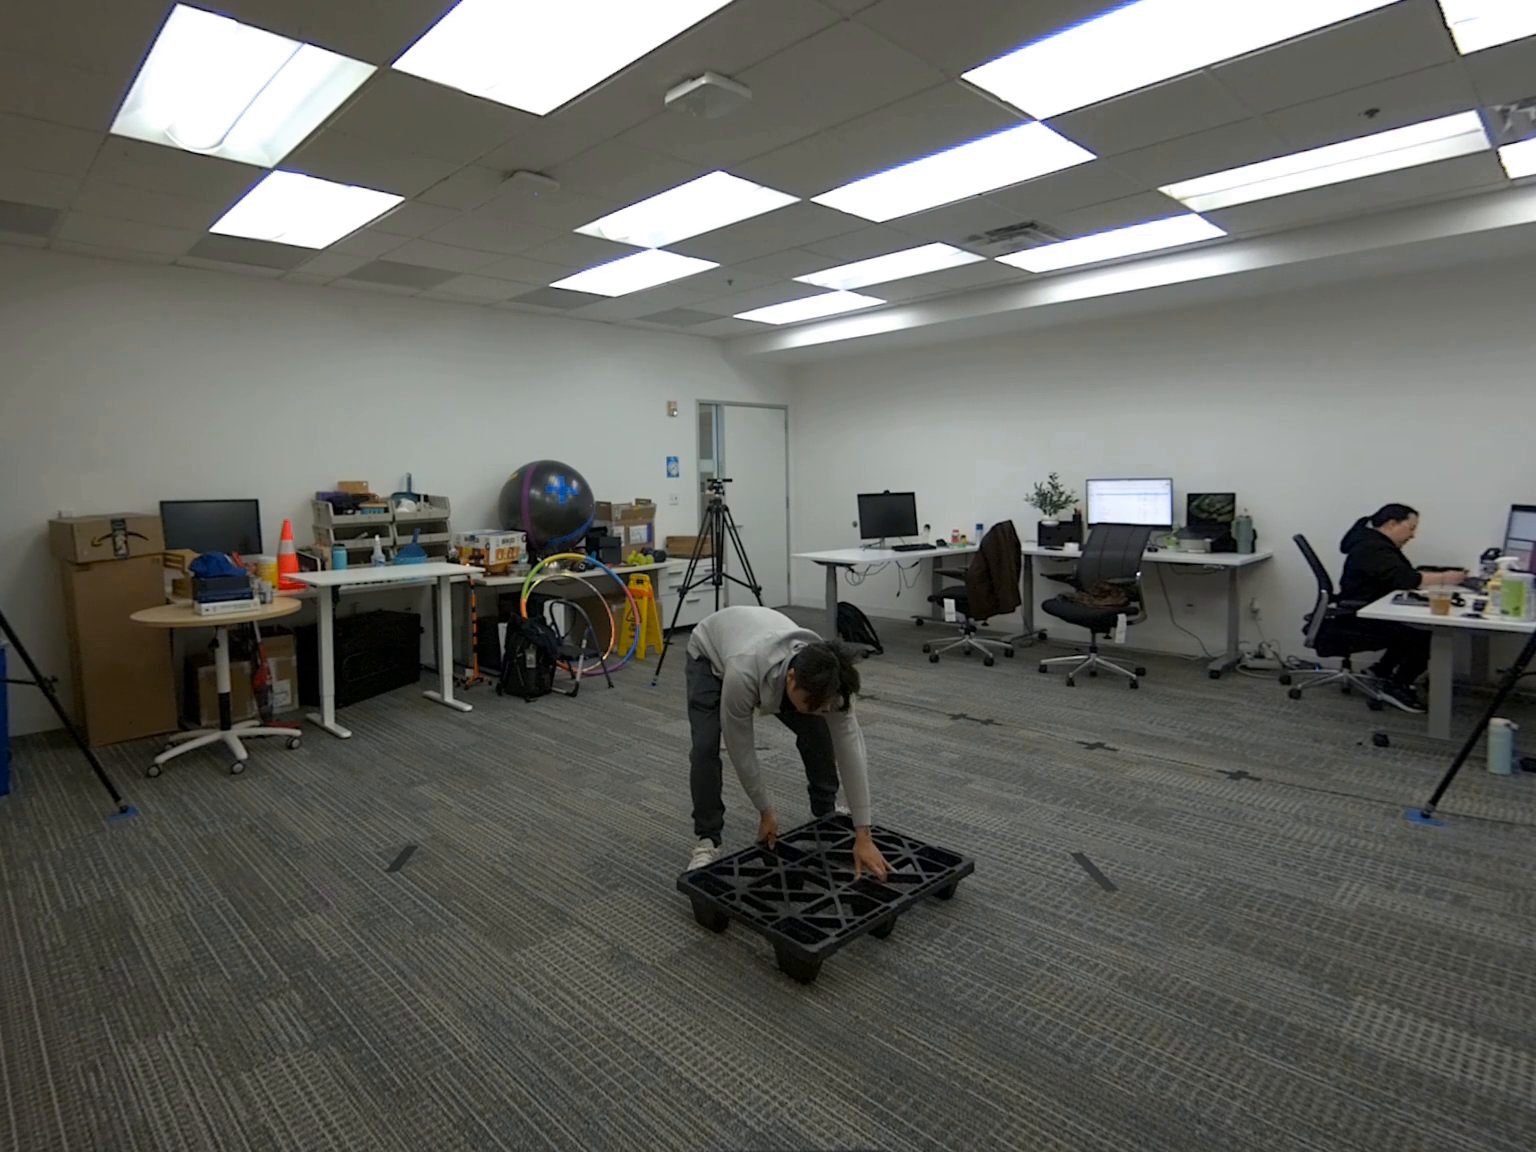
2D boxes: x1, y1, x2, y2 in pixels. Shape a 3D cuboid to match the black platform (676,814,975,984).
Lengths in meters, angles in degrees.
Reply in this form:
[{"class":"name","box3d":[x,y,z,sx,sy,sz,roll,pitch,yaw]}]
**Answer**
[{"class":"black platform","box3d":[0.203,1.013,2.765,0.785,0.142,0.624,-7,10,-43]}]
